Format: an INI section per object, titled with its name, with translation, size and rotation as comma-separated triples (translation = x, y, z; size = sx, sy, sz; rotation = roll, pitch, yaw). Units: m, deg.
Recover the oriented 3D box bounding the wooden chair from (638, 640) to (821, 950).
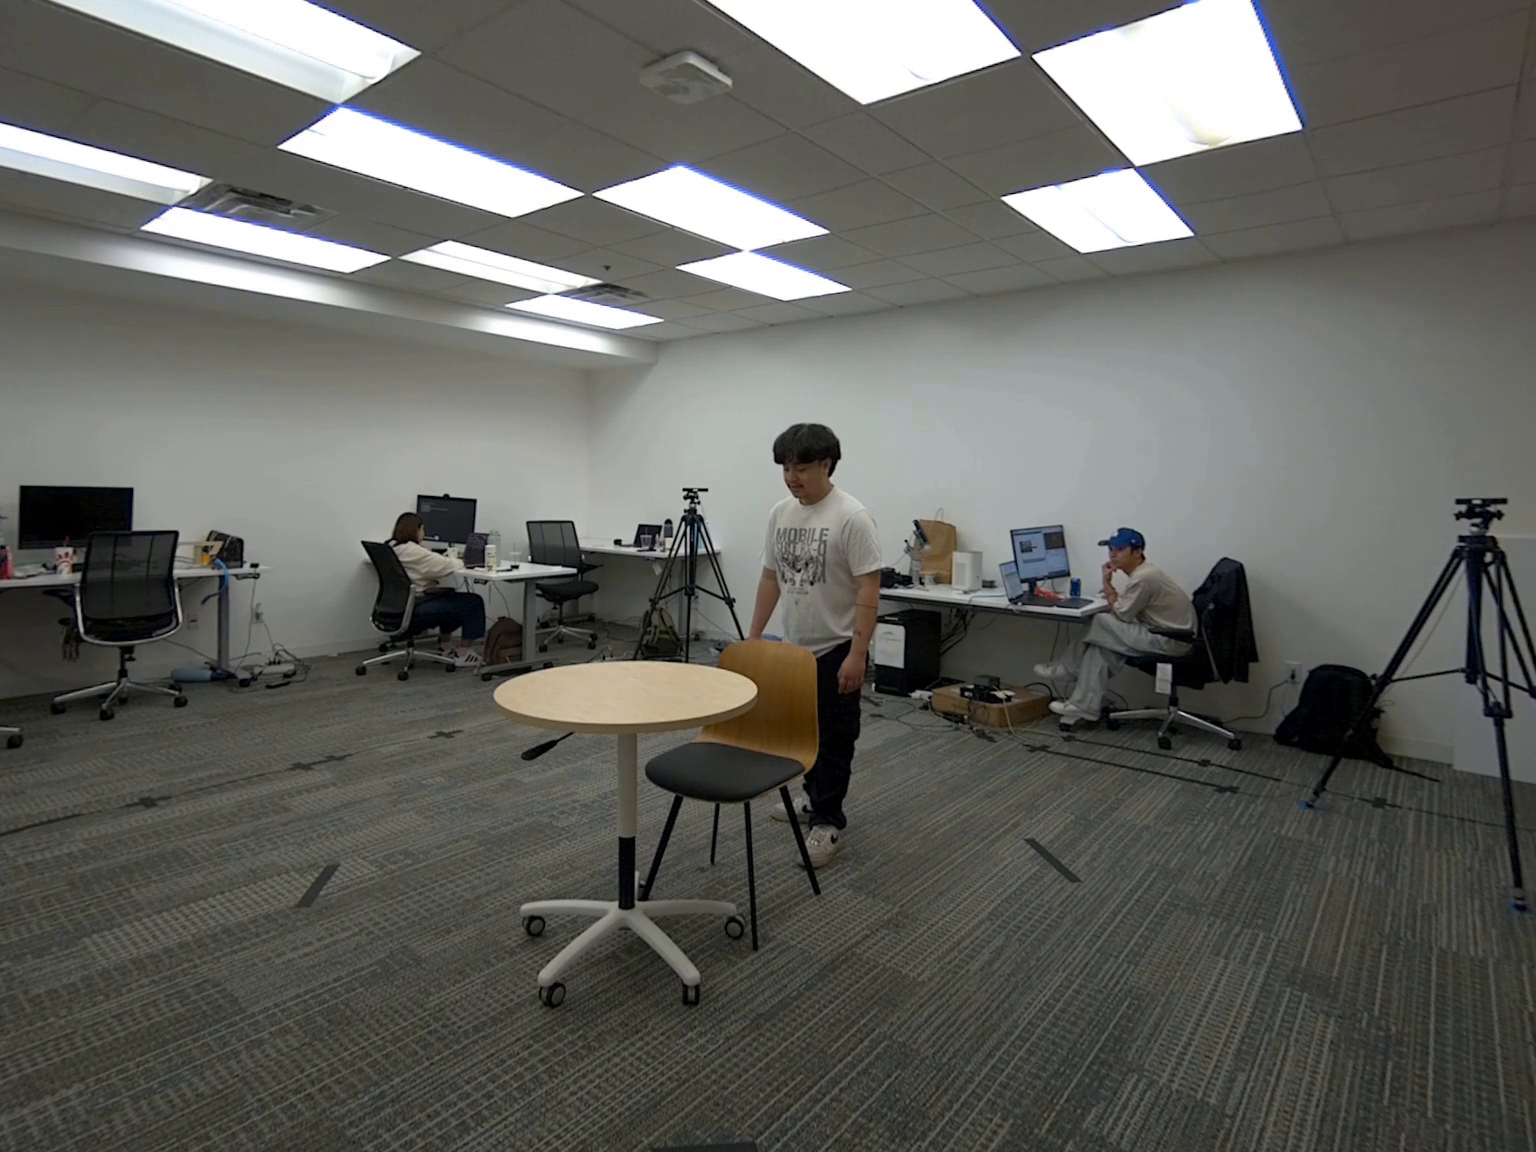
[wooden chair]
translation = -0.126, 0.672, 2.832
size = 0.493, 0.877, 0.507
rotation = 4, 0, 31
